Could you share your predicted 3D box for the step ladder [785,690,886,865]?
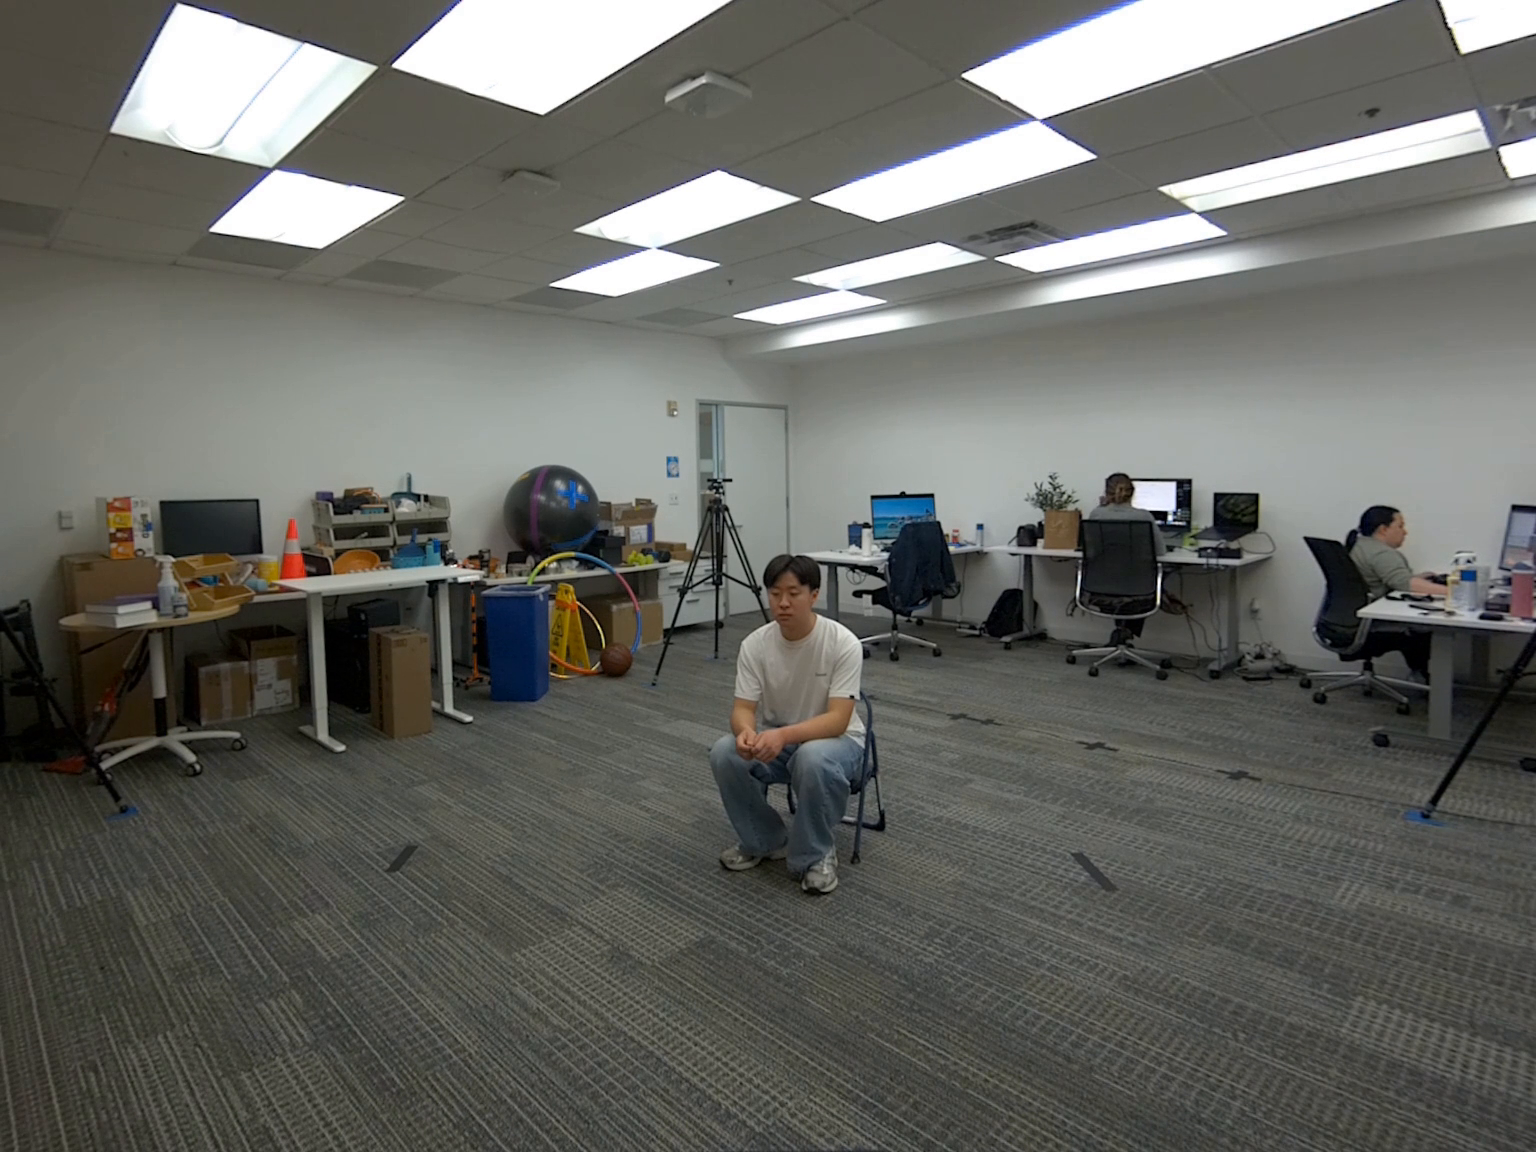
[{"bbox_3d":[0.214,0.717,3.327,0.442,0.604,0.342,2,5,28],"label":"step ladder"}]
